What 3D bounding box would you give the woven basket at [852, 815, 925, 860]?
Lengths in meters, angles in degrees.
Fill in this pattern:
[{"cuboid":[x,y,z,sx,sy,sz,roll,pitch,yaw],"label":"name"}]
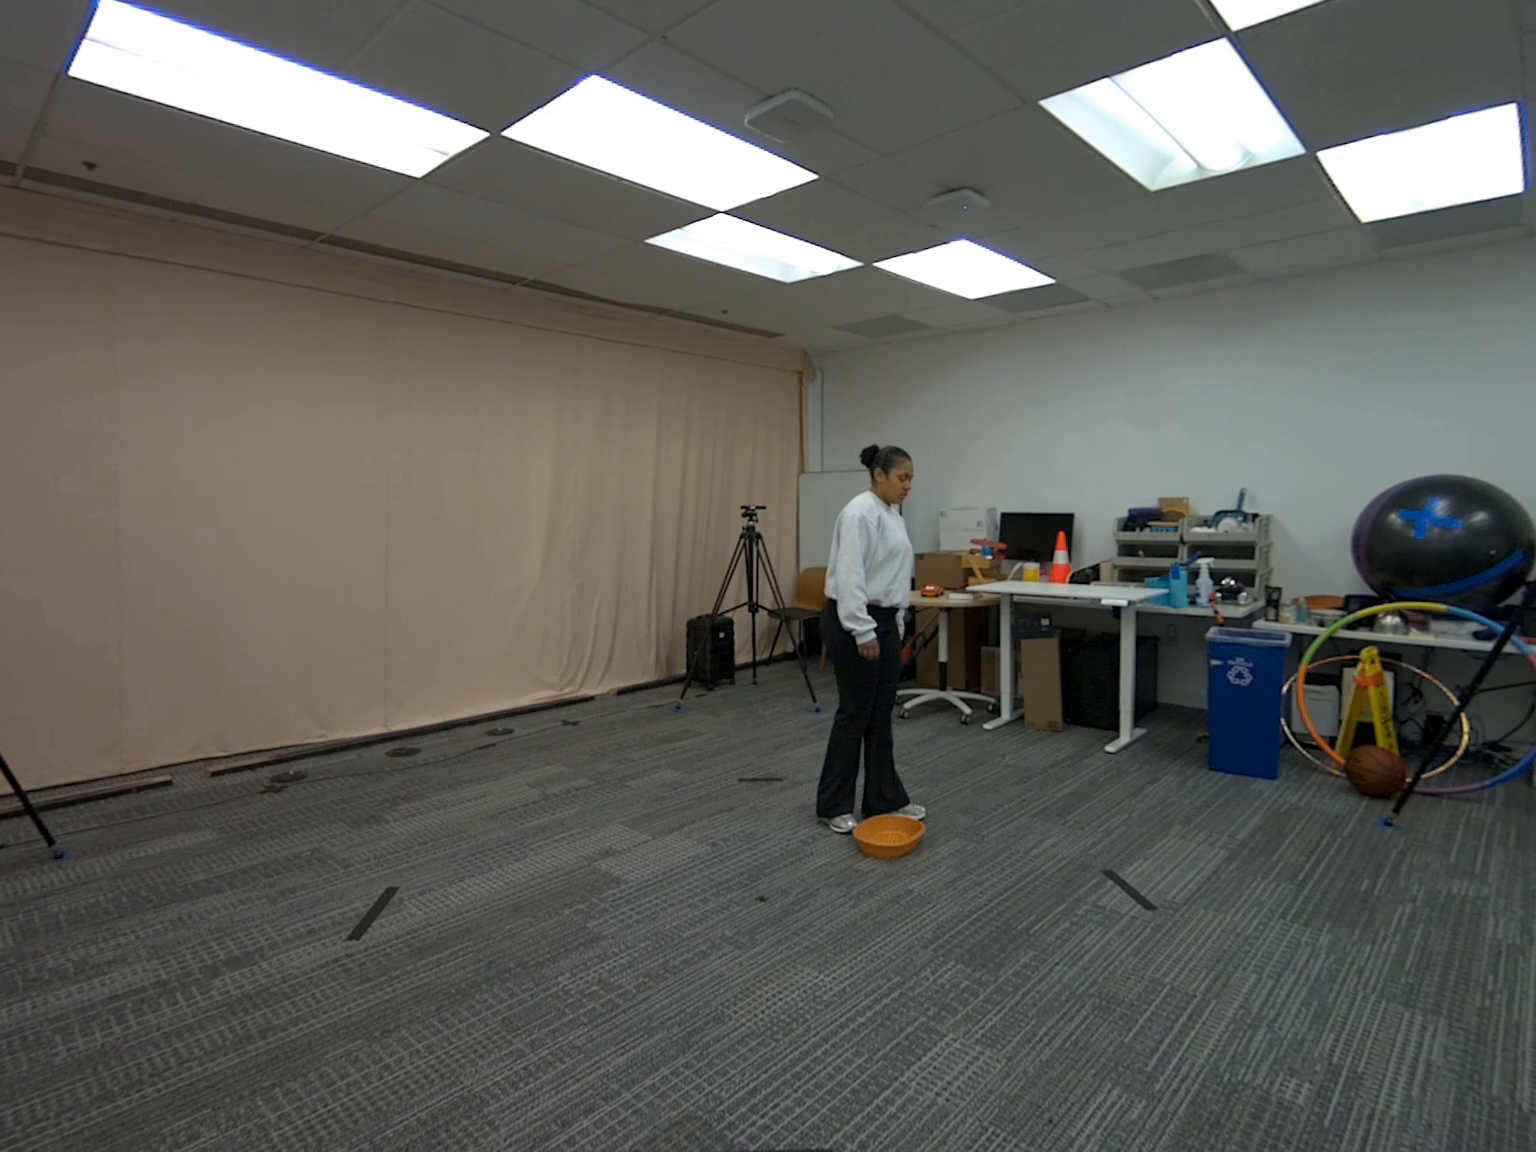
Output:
[{"cuboid":[0.496,1.063,3.441,0.261,0.073,0.340,4,7,41],"label":"woven basket"}]
